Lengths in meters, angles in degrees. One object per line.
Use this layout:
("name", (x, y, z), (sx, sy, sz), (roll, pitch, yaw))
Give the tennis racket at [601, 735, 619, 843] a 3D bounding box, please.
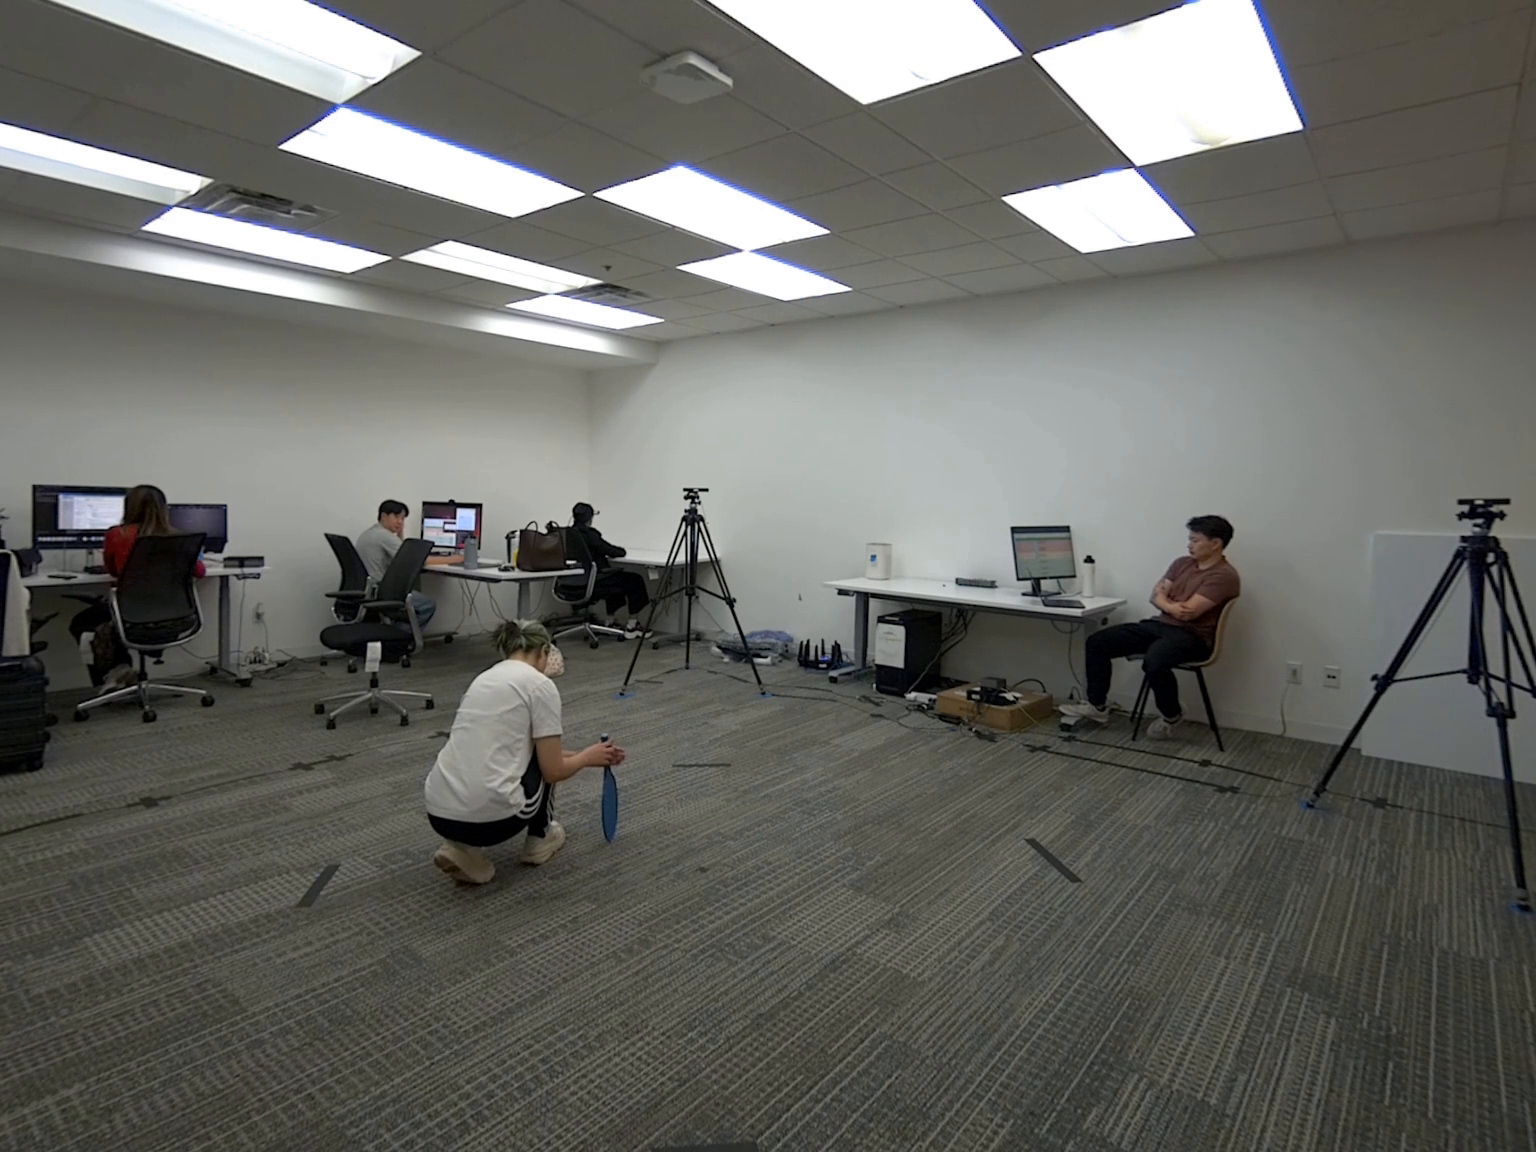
("tennis racket", (-0.649, 0.838, 3.333), (0.032, 0.429, 0.214), (-1, 8, 6))
